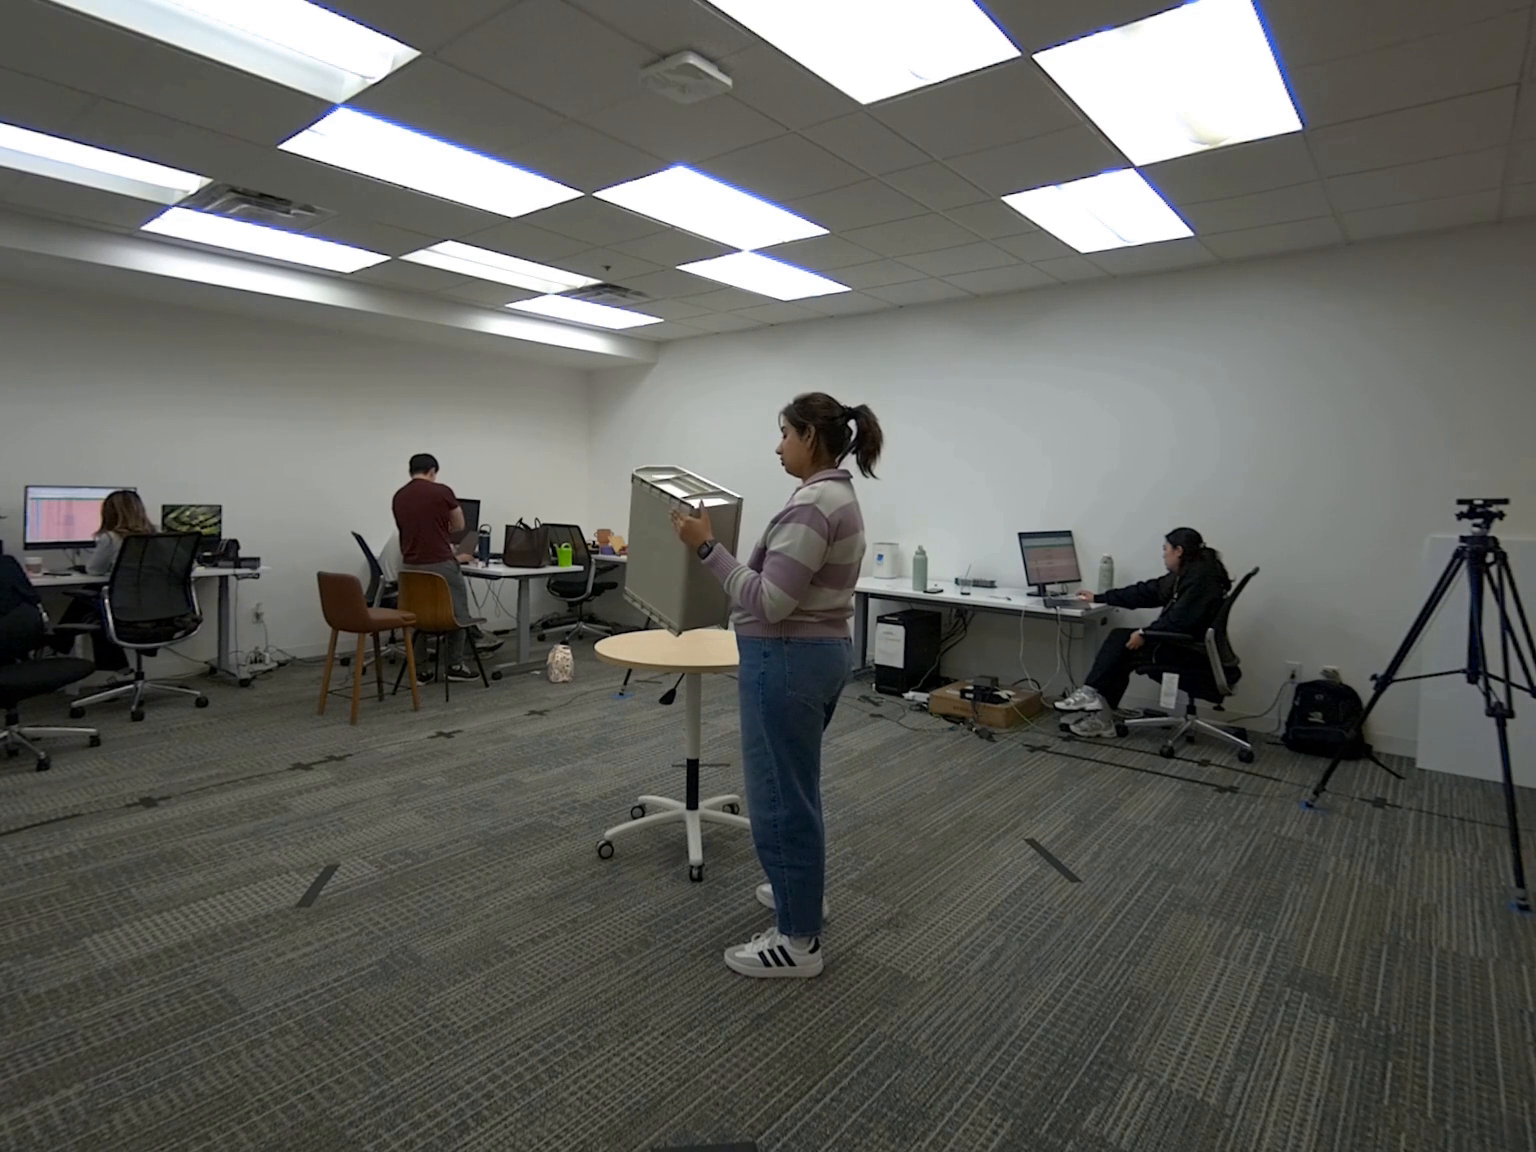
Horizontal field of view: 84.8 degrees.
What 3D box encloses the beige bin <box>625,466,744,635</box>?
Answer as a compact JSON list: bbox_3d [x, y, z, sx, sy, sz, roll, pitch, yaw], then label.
[{"bbox_3d":[-0.294,-0.088,2.601,0.184,0.416,0.393,-9,26,-38],"label":"beige bin"}]
